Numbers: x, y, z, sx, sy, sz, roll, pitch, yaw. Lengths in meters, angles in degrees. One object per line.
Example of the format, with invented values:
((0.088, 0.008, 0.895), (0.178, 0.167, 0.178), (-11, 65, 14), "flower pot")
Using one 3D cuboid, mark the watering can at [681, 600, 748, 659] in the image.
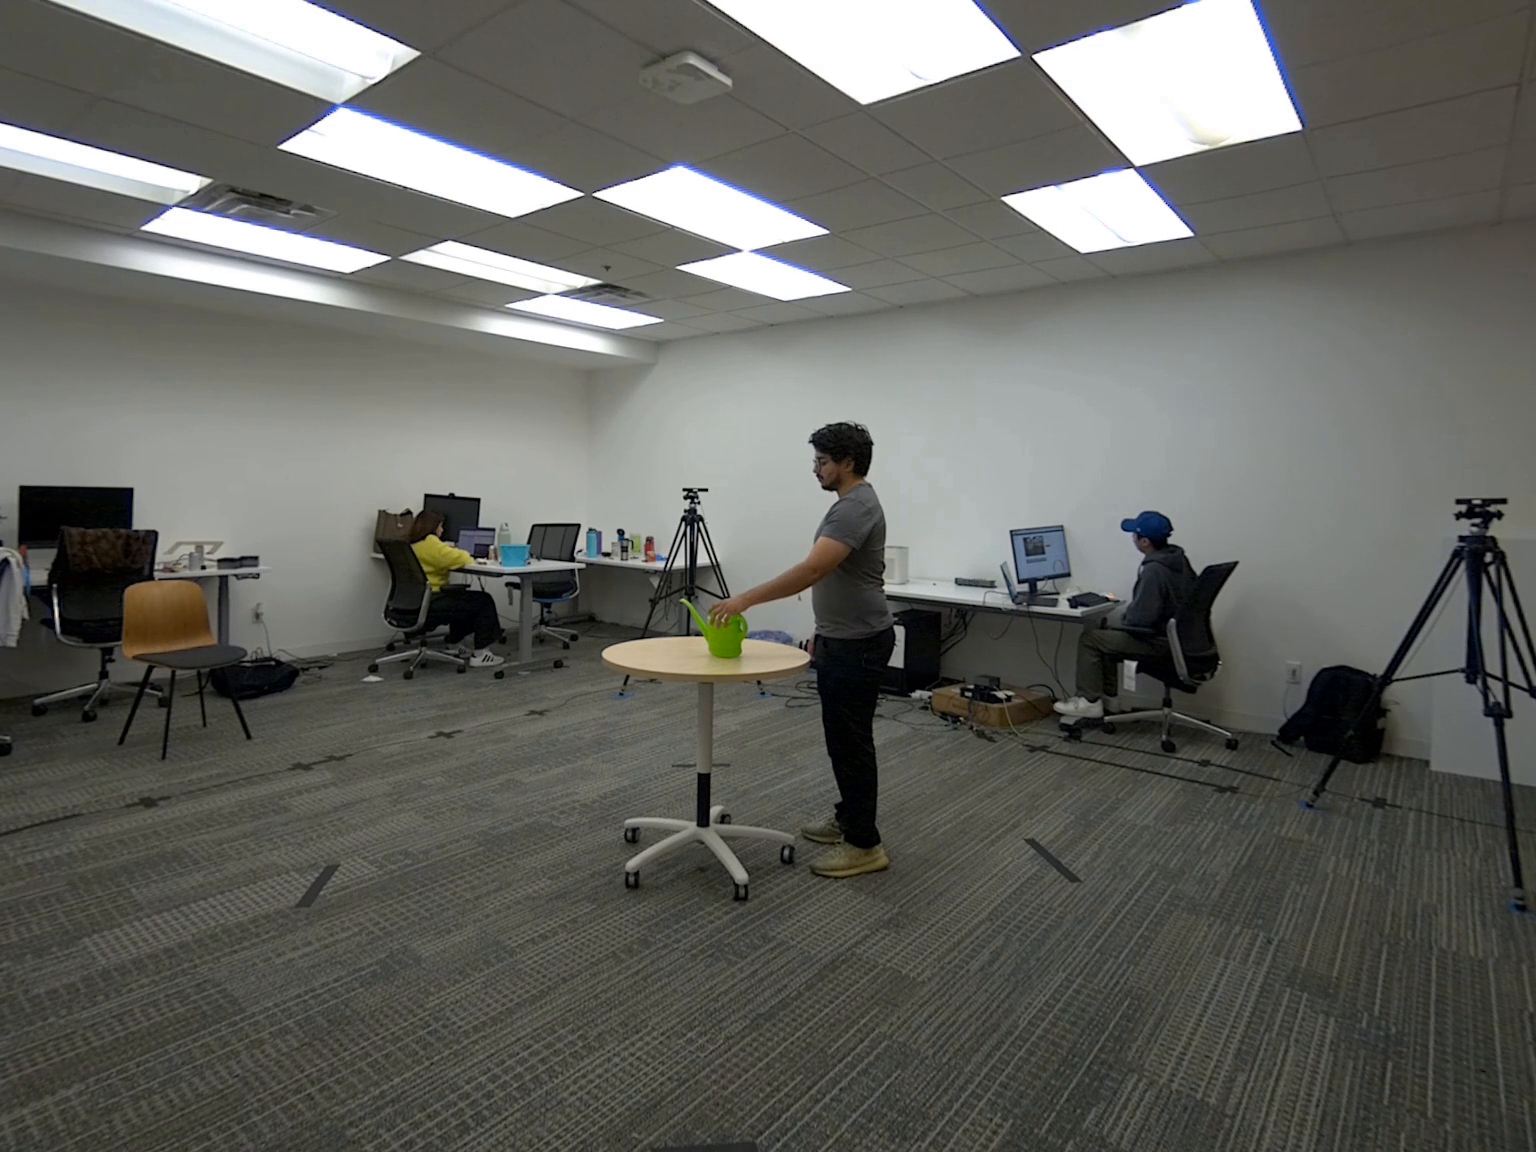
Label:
((-0.200, 0.183, 3.113), (0.096, 0.174, 0.289), (-17, 25, -41), "watering can")
